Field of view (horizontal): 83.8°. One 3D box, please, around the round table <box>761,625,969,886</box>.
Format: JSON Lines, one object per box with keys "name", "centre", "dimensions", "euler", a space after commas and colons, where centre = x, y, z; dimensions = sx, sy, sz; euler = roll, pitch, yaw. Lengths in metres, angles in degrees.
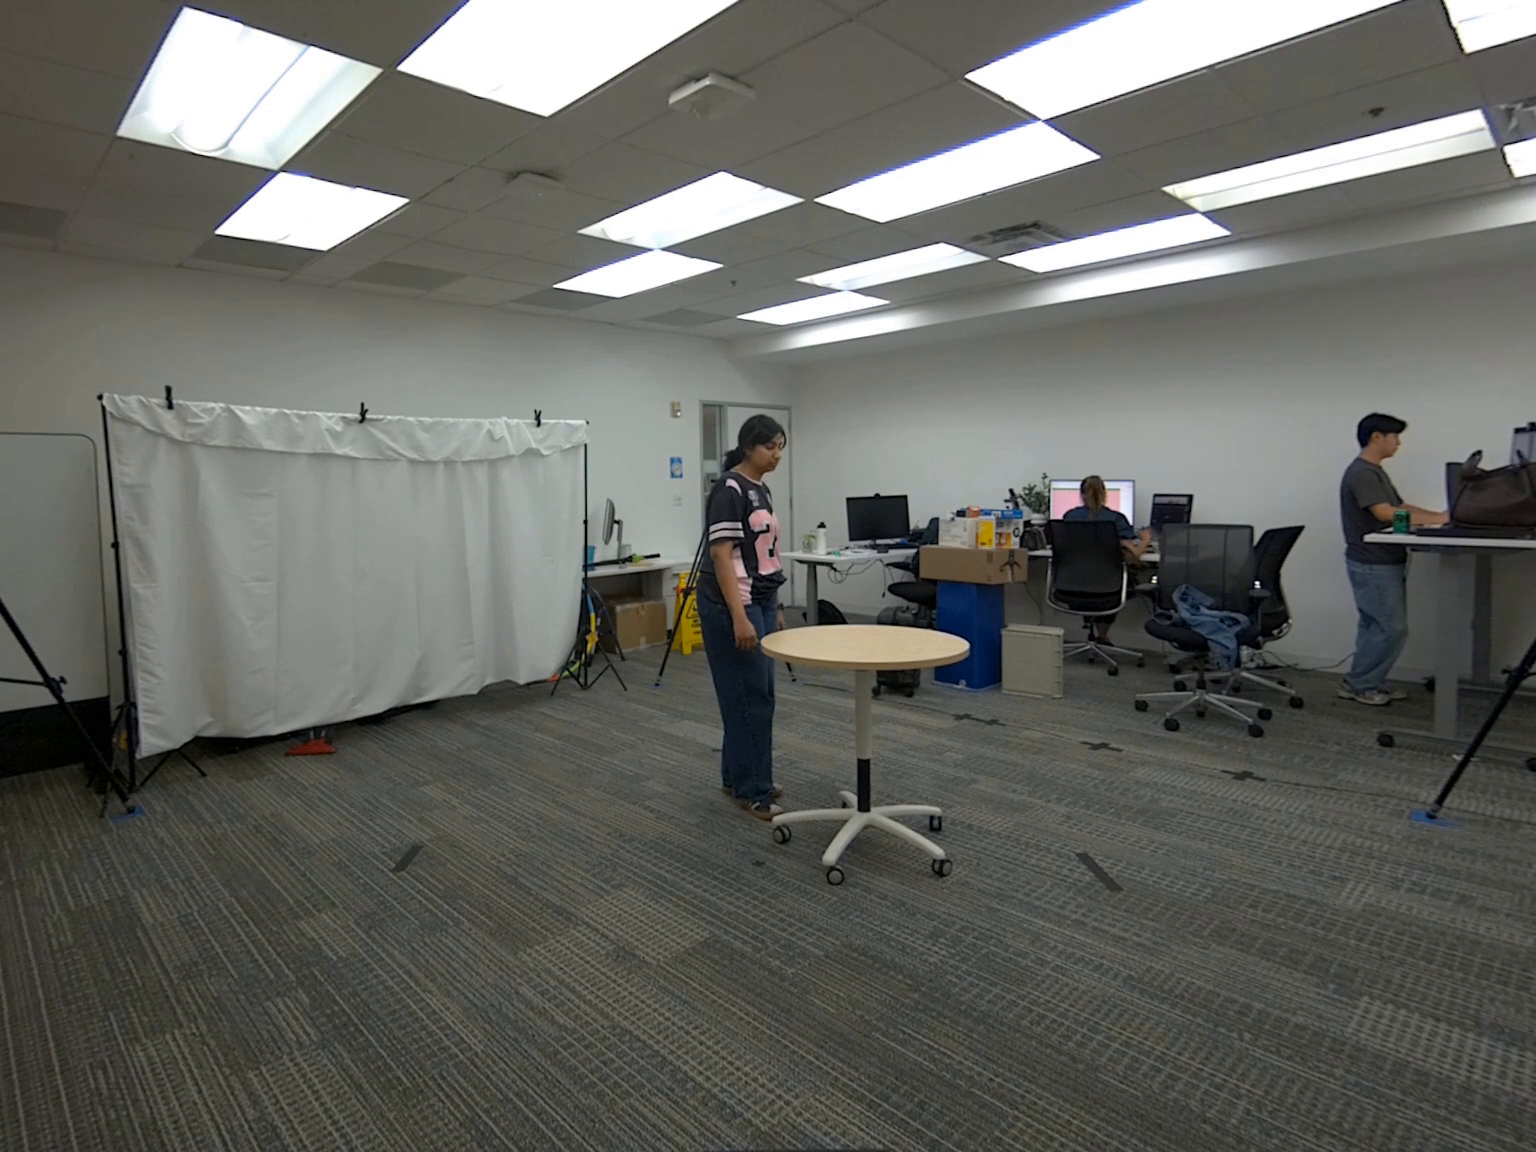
{"name": "round table", "centre": [0.366, 0.642, 3.206], "dimensions": [0.763, 0.791, 0.768], "euler": [-1, 5, -2]}
